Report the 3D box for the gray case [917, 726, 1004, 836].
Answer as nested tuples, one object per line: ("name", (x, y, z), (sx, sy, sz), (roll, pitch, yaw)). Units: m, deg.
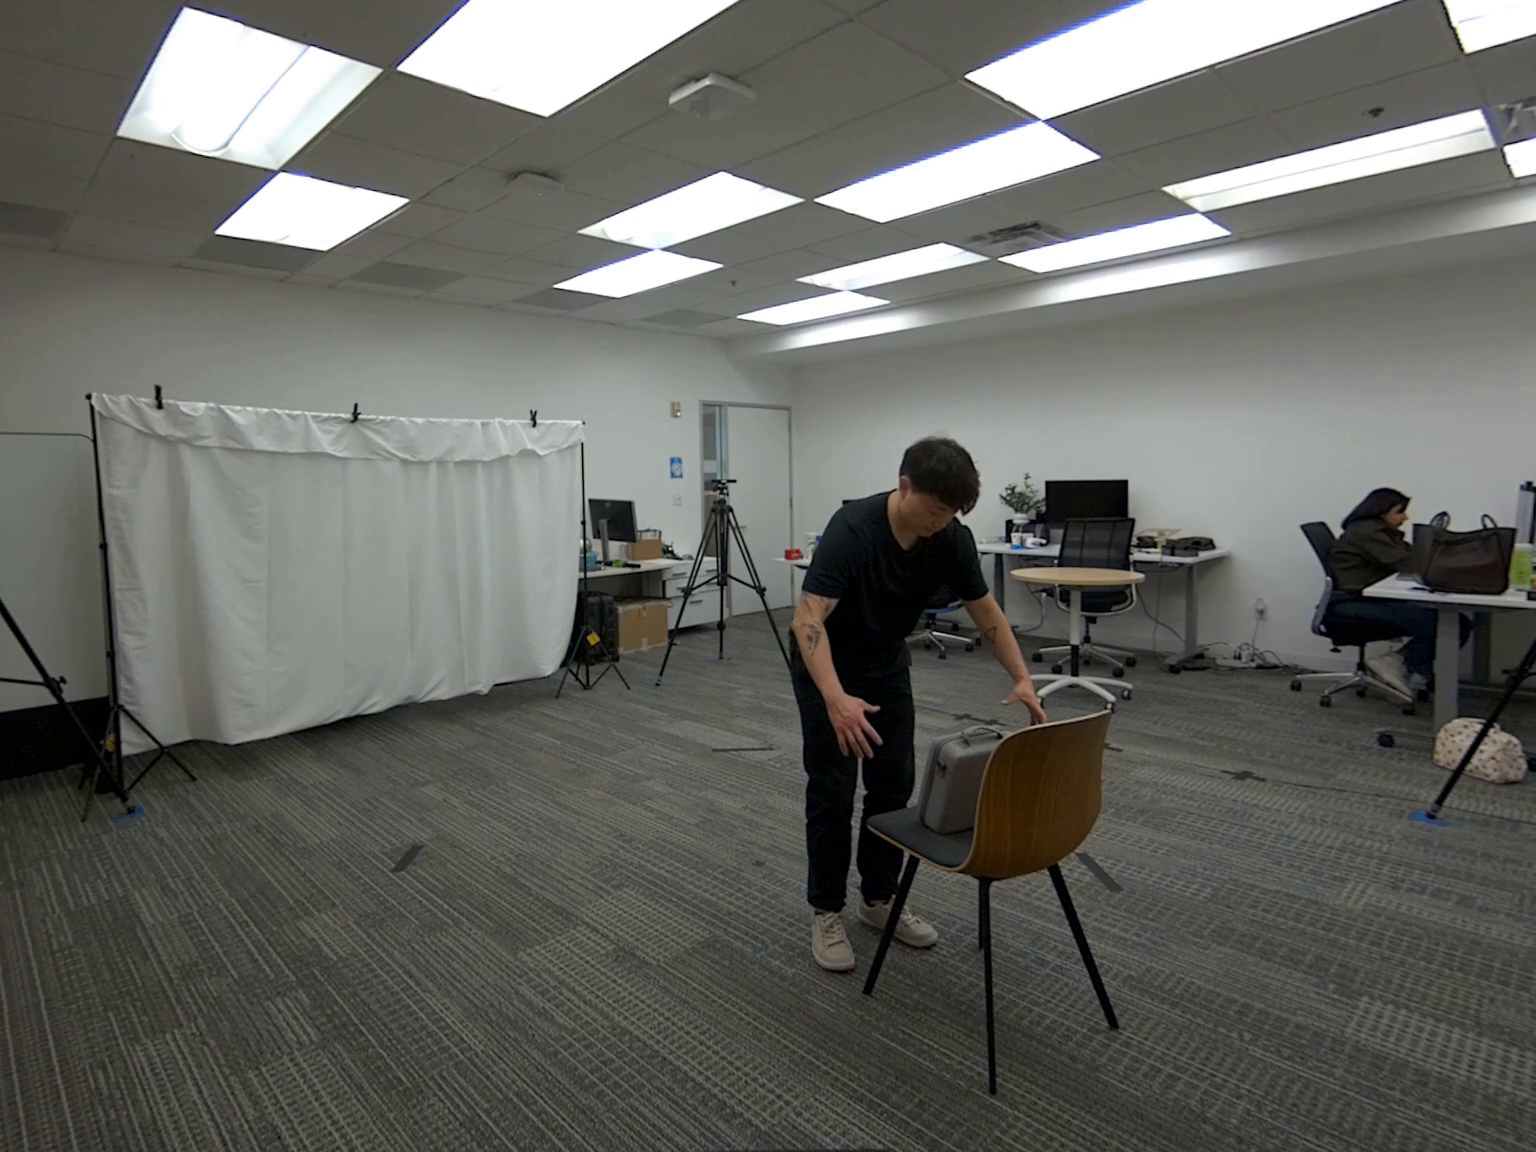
("gray case", (0.538, 0.527, 2.233), (0.251, 0.257, 0.108), (-4, 21, -29))
